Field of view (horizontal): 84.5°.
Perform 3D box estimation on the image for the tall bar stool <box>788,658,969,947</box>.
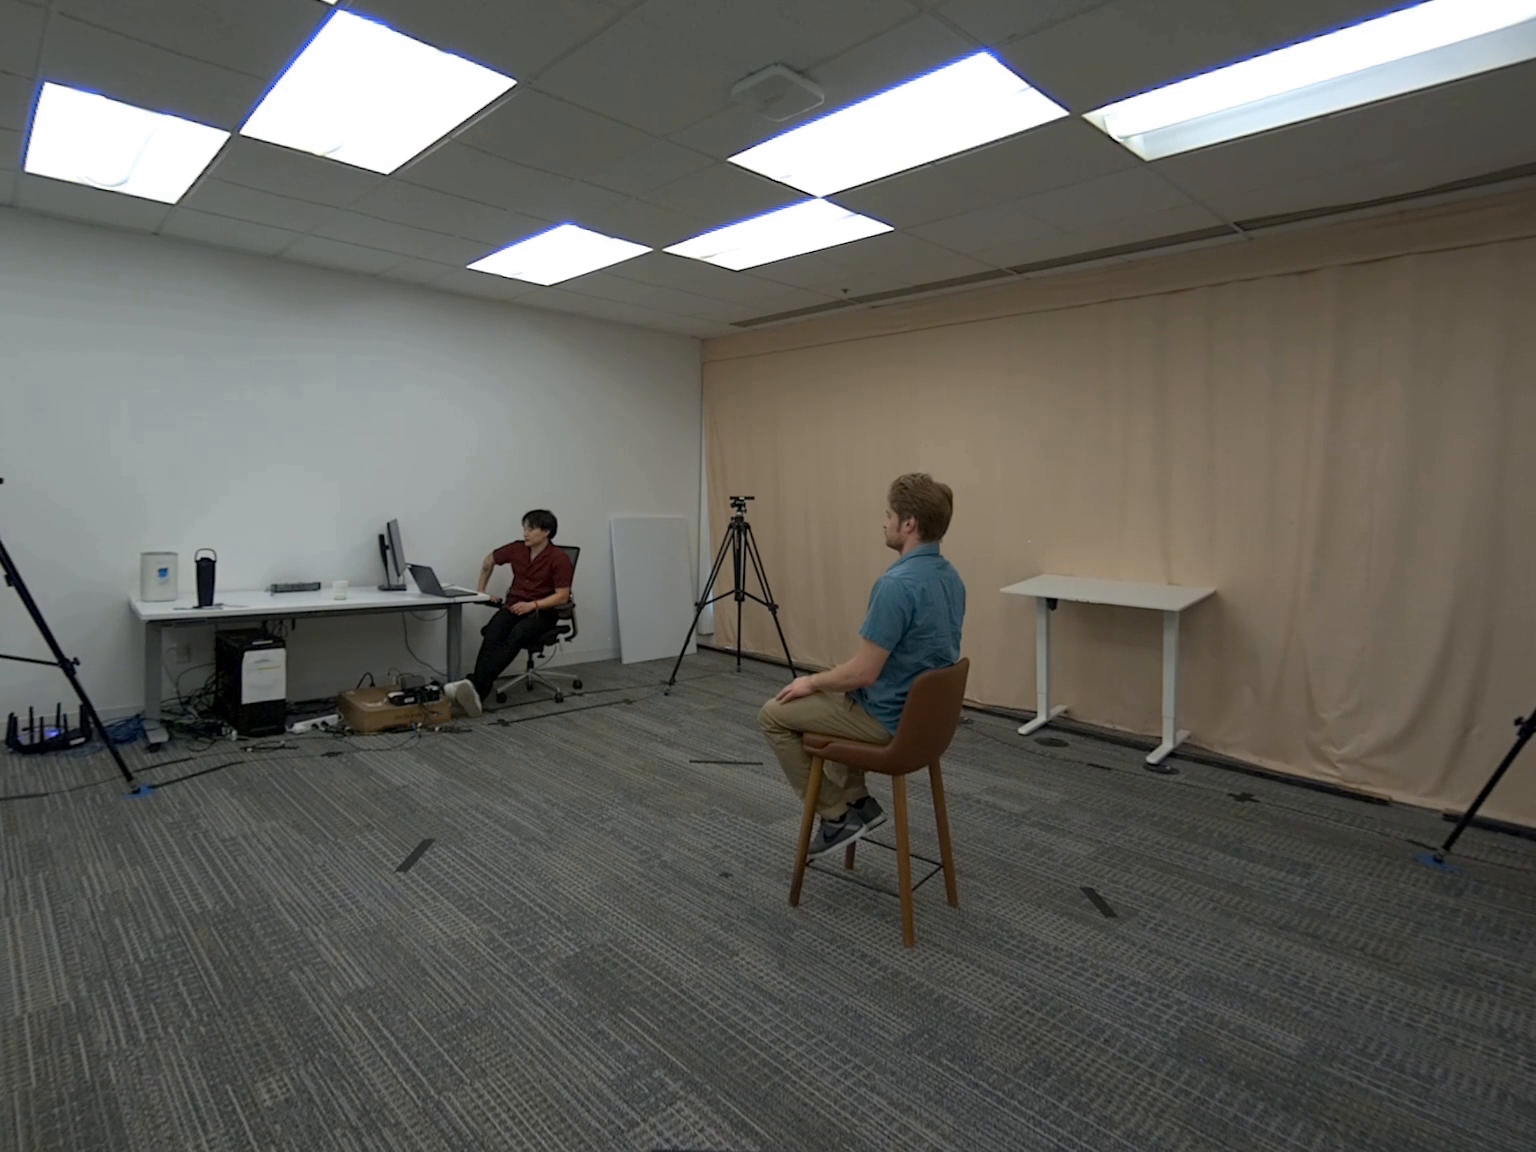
[{"bbox_3d":[0.385,0.701,2.872,0.479,0.886,0.447,7,7,37],"label":"tall bar stool"}]
